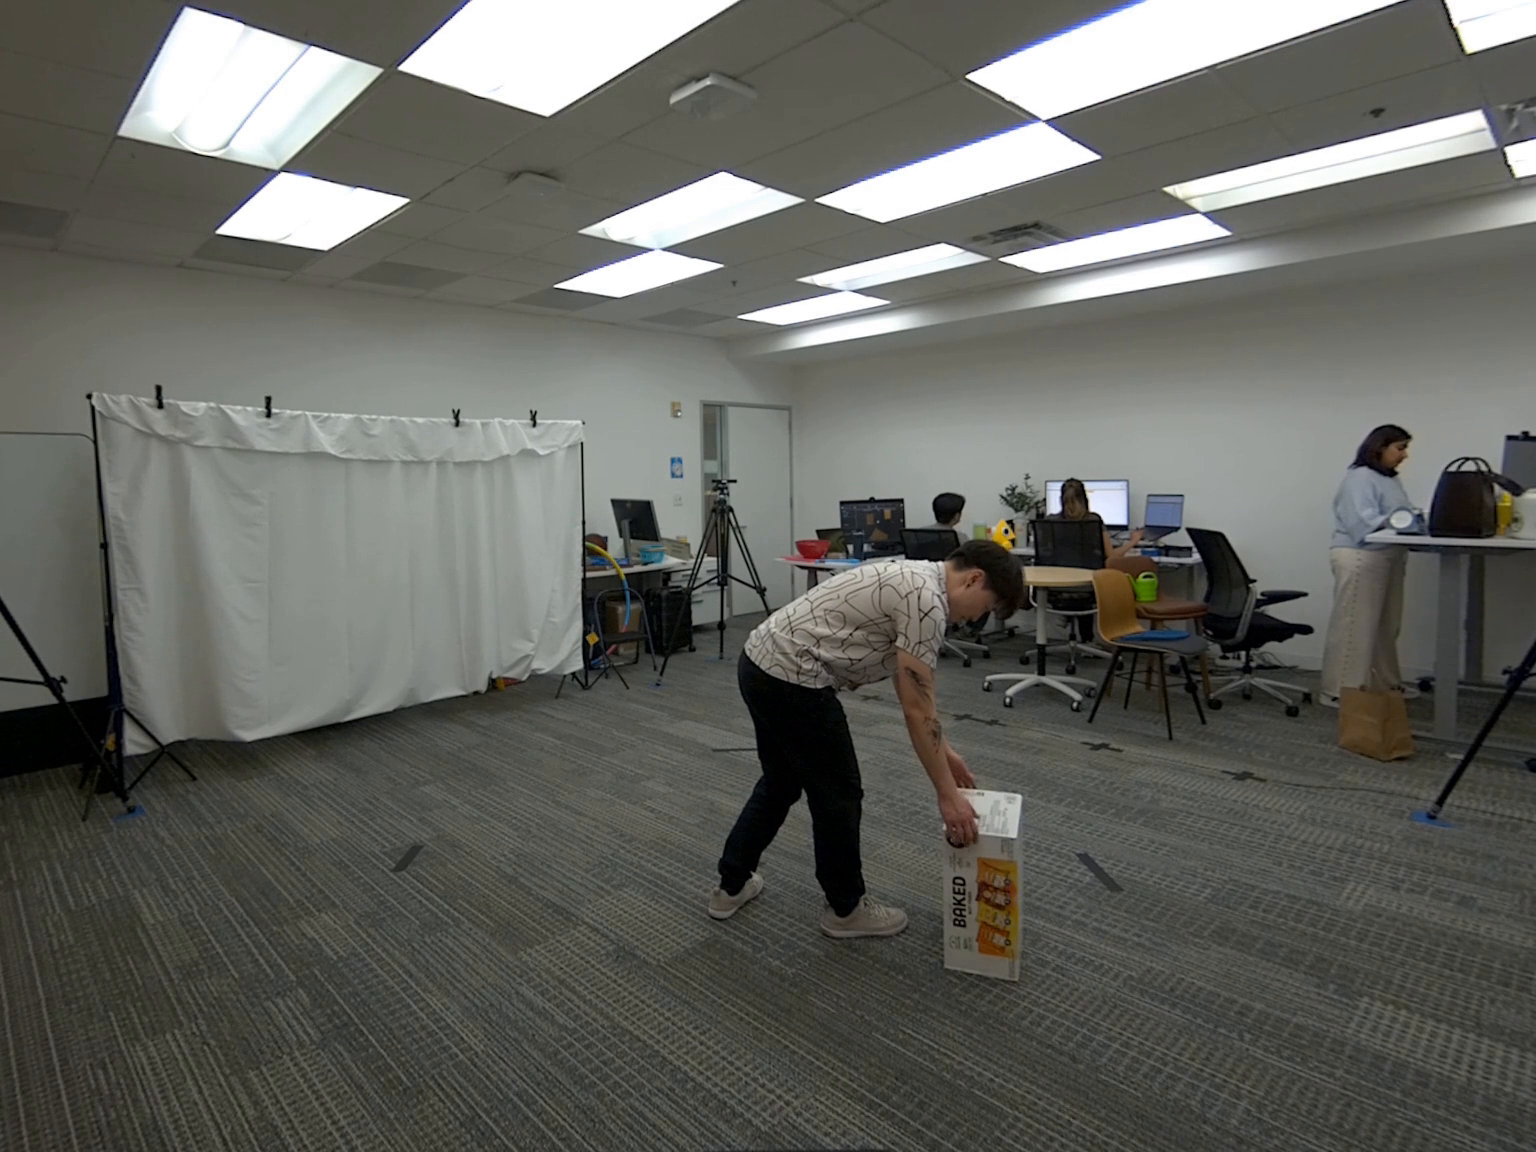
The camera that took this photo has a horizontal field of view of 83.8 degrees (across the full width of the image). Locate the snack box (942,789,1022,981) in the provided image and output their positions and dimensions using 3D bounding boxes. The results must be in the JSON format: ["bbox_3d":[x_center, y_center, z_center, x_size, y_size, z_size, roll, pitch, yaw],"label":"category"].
[{"bbox_3d":[0.645,0.894,2.531,0.209,0.404,0.335,0,4,19],"label":"snack box"}]
